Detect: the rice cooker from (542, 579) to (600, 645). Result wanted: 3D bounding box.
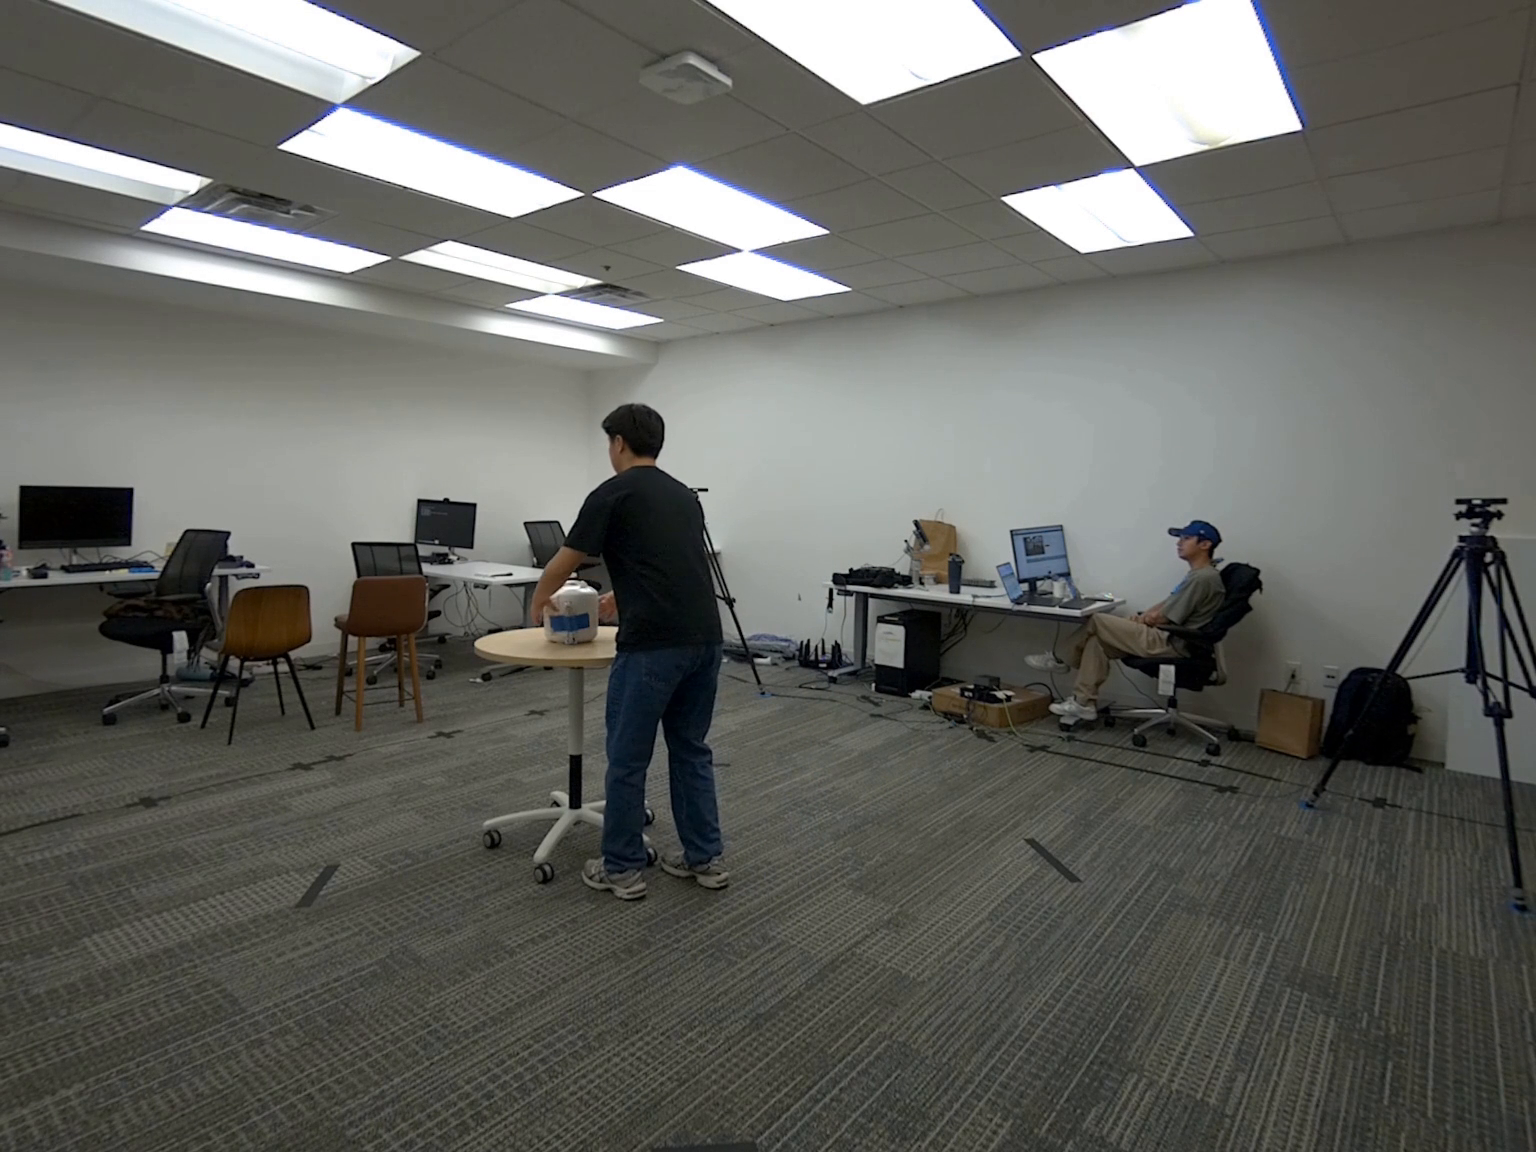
[{"bbox_3d":[-0.777,0.131,3.301,0.224,0.232,0.214,5,4,35],"label":"rice cooker"}]
